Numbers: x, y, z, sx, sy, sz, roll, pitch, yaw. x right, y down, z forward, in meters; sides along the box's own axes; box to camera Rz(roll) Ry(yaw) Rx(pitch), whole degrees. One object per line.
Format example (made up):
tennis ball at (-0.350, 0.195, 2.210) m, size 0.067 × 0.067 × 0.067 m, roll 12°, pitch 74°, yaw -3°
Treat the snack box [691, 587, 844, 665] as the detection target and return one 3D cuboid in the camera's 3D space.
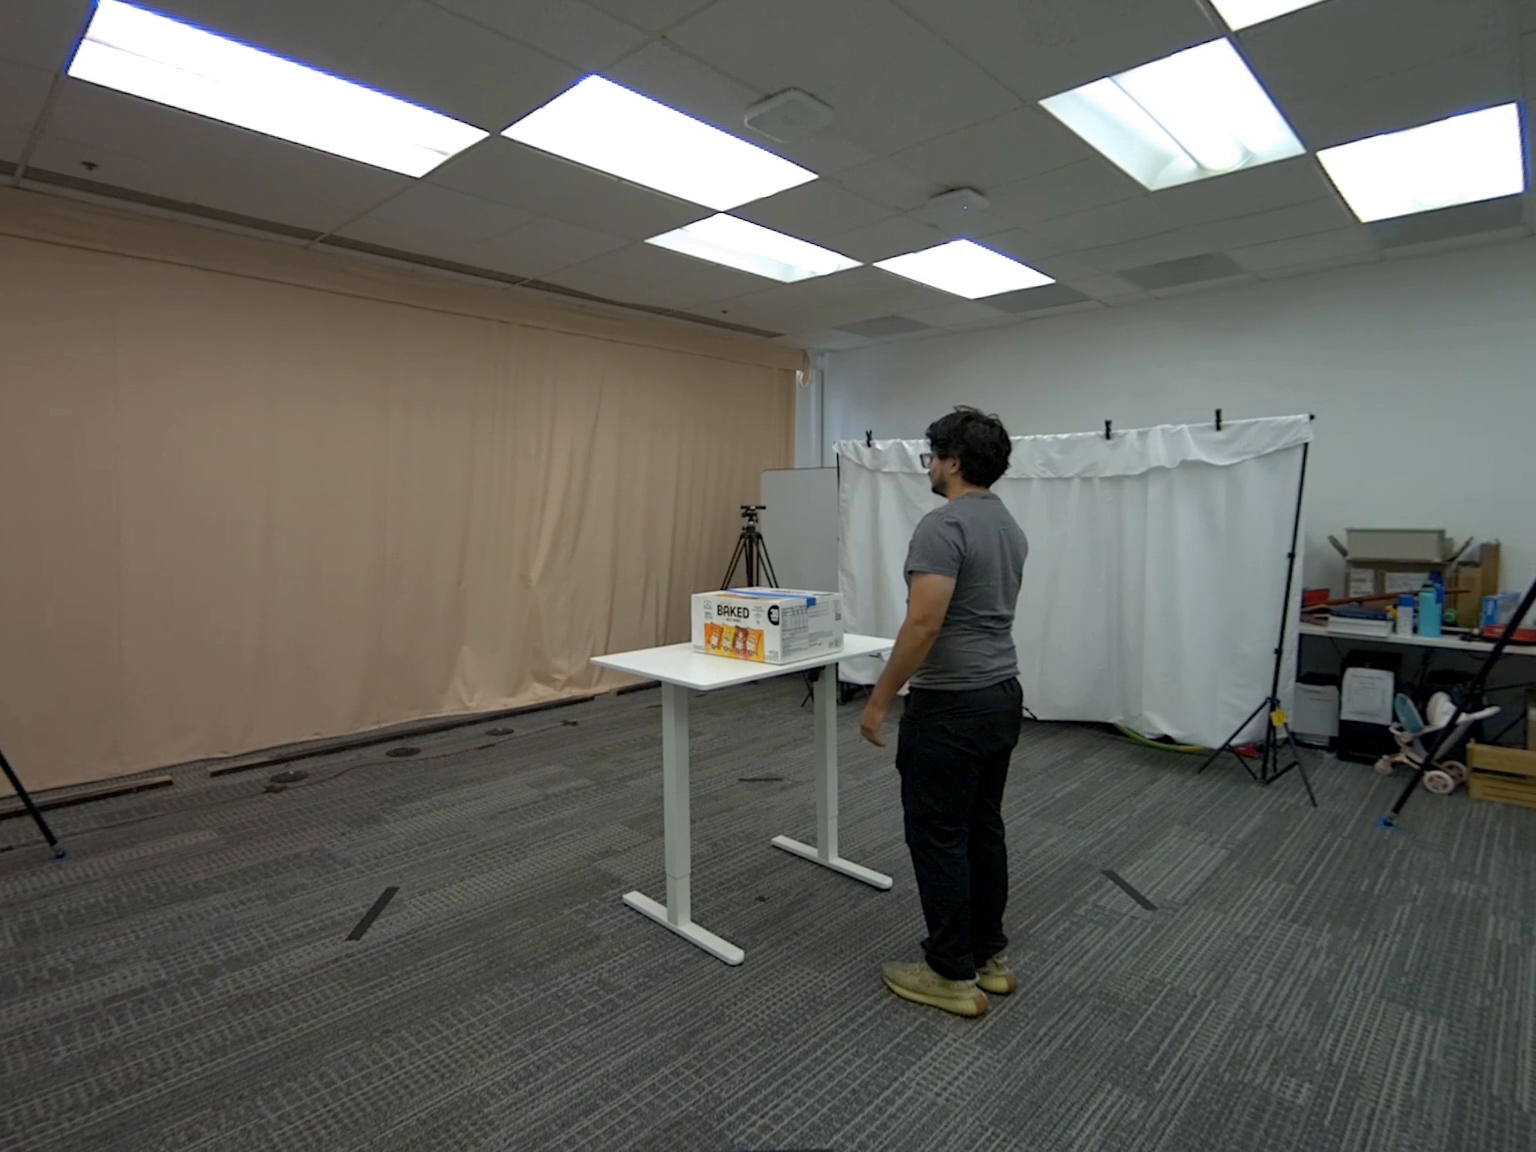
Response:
snack box at (0.003, 0.164, 2.921) m, size 0.419 × 0.205 × 0.330 m, roll 3°, pitch 6°, yaw 43°
